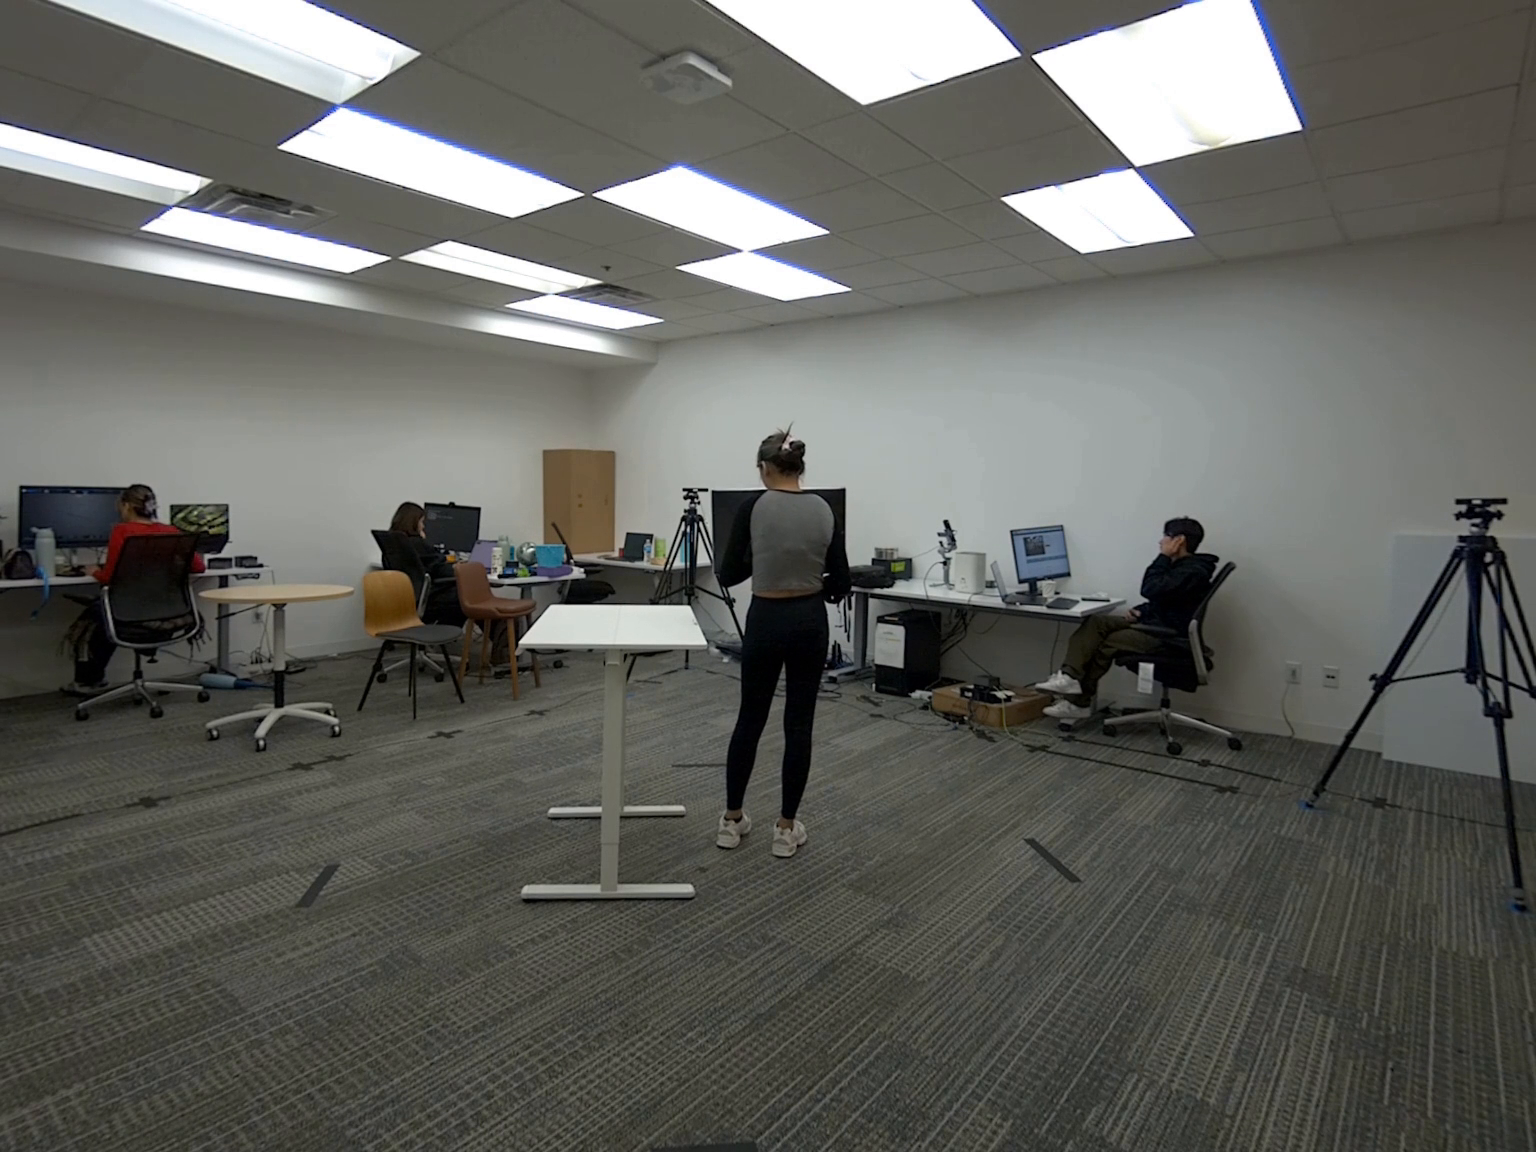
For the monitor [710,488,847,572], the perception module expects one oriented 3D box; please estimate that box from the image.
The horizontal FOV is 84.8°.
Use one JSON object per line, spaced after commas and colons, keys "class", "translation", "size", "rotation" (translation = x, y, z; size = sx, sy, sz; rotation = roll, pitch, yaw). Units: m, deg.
{"class": "monitor", "translation": [0.042, -0.097, 3.501], "size": [0.540, 0.523, 0.186], "rotation": [-1, -2, 1]}
